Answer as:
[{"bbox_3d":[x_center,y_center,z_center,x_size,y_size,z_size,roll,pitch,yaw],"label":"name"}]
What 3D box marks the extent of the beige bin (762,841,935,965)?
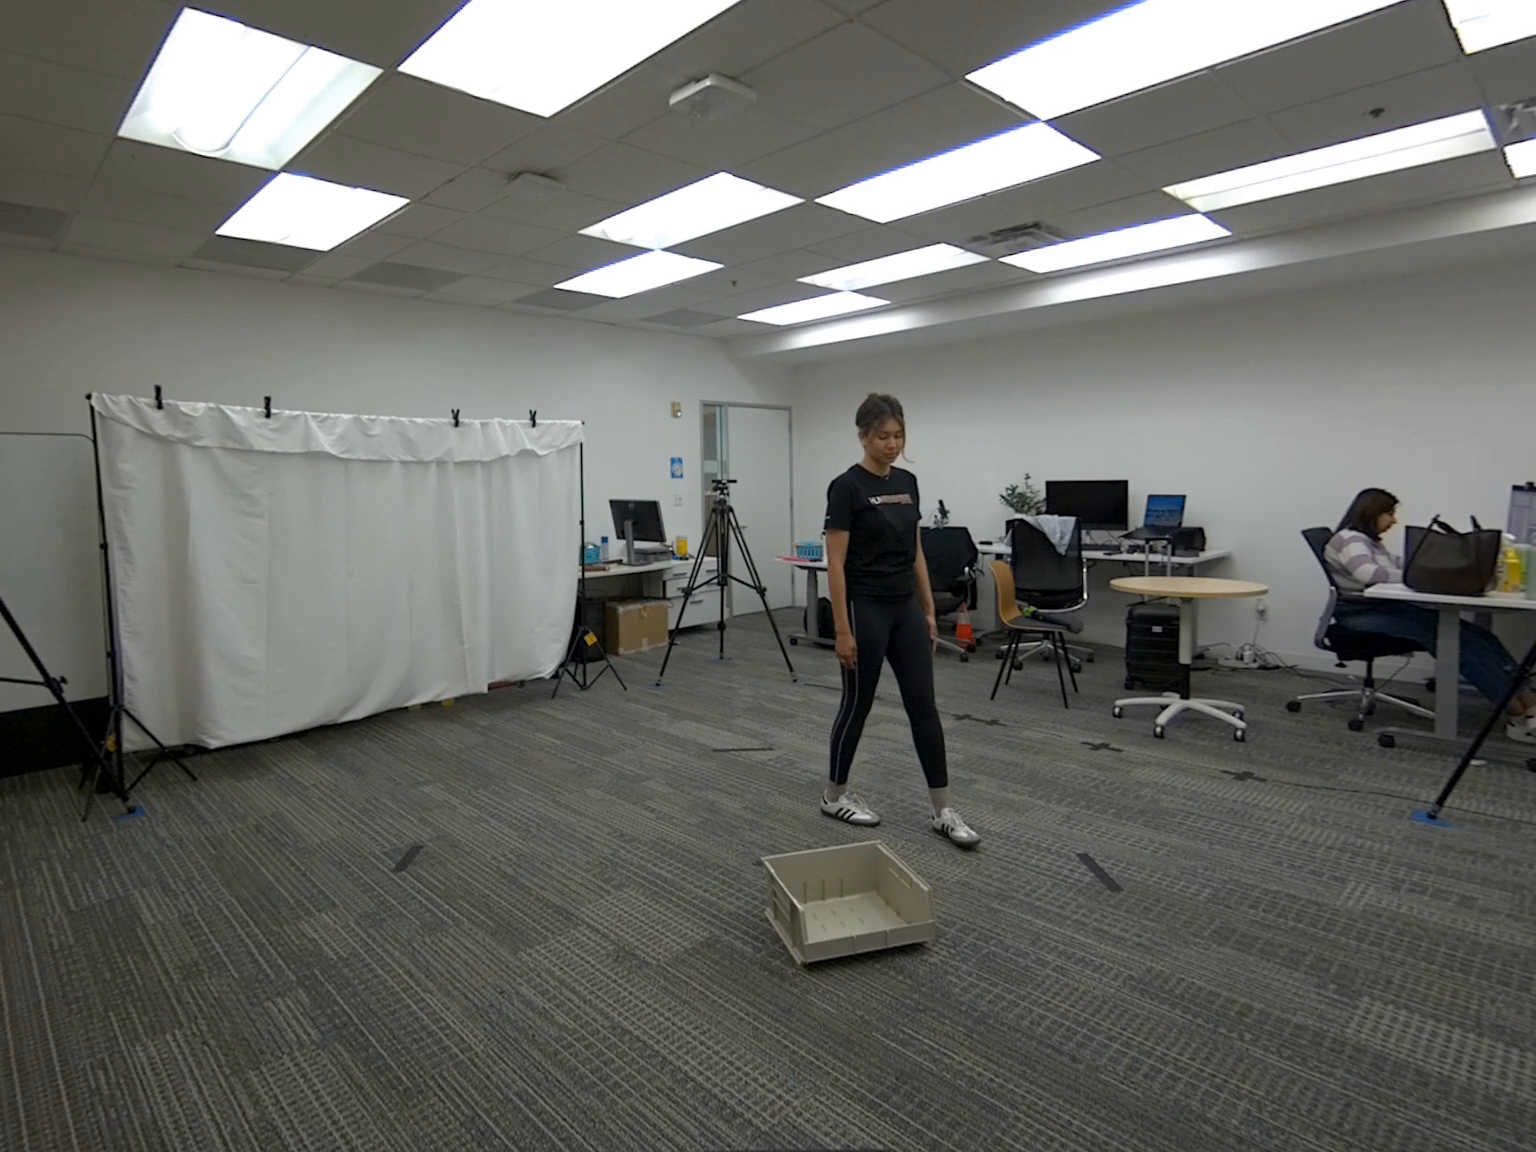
[{"bbox_3d":[0.244,1.009,2.631,0.416,0.188,0.384,-3,5,-17],"label":"beige bin"}]
